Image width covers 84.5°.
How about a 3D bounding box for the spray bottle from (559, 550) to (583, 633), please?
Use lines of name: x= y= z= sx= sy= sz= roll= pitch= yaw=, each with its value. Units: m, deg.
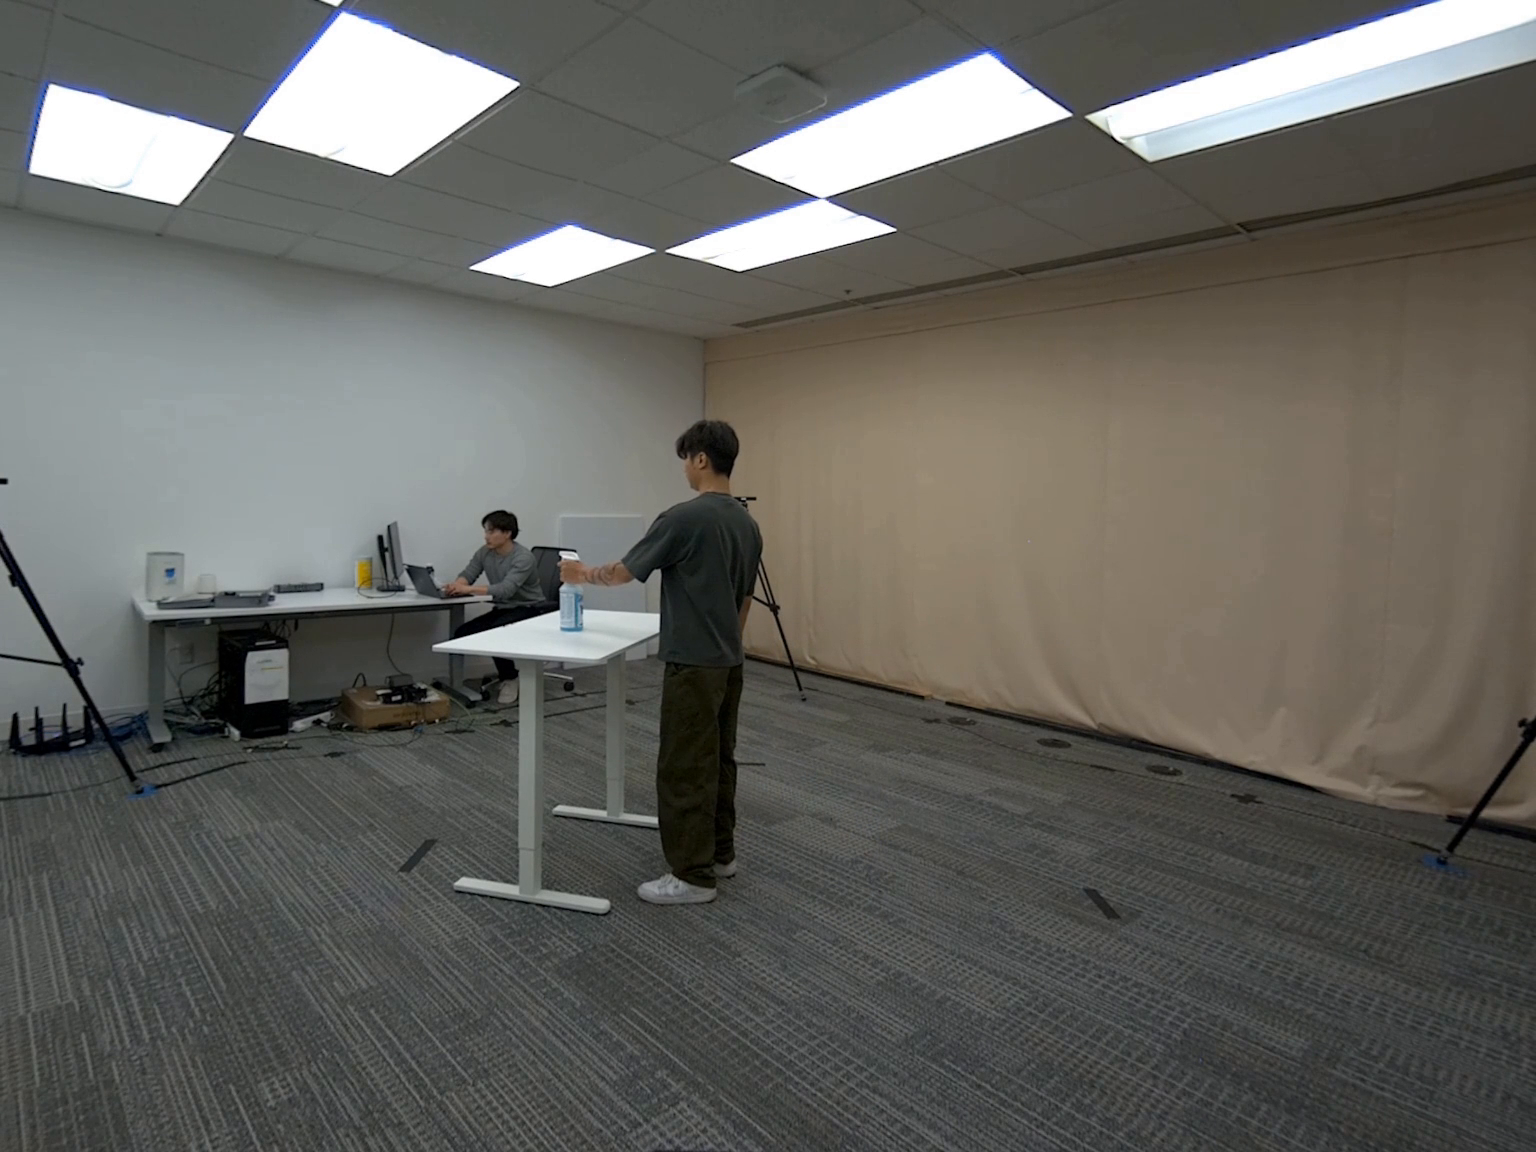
spray bottle: x=-0.745 y=0.060 z=3.178 sx=0.085 sy=0.297 sz=0.092 roll=0 pitch=1 yaw=-40
